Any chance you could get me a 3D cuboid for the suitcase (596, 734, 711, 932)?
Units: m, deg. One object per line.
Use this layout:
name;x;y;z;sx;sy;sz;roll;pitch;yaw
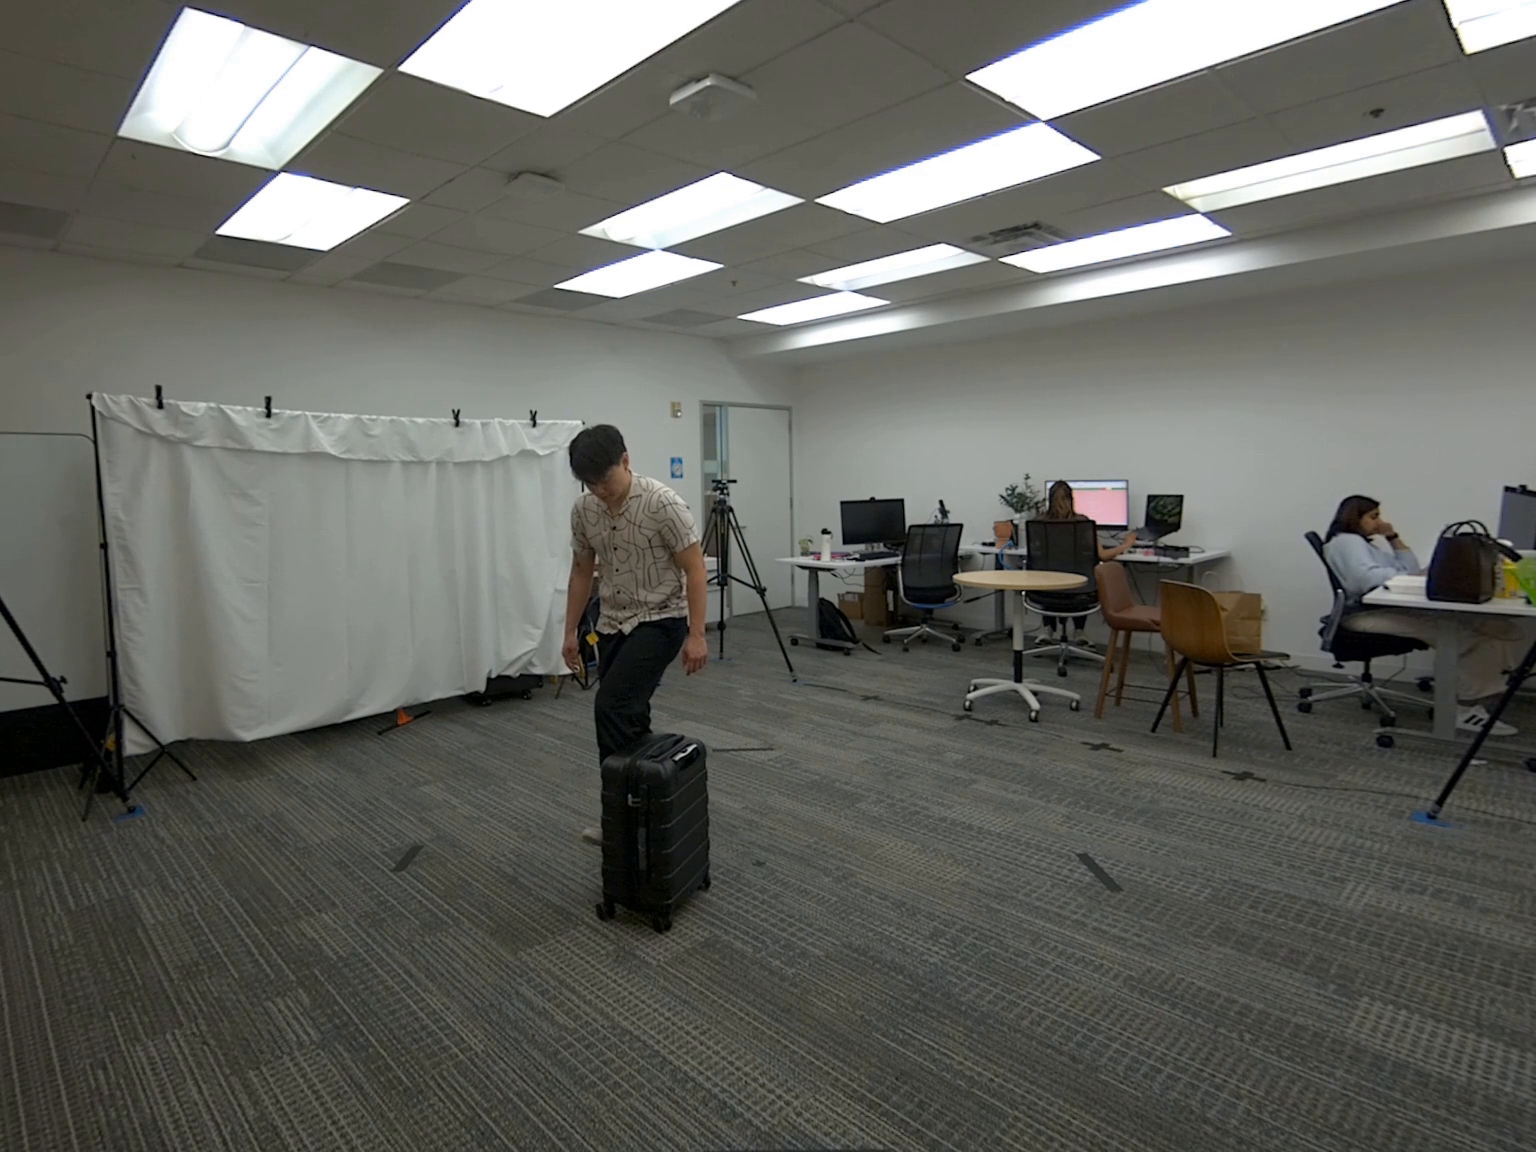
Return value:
suitcase;-0.358;0.812;2.797;0.253;0.547;0.370;1;6;20
